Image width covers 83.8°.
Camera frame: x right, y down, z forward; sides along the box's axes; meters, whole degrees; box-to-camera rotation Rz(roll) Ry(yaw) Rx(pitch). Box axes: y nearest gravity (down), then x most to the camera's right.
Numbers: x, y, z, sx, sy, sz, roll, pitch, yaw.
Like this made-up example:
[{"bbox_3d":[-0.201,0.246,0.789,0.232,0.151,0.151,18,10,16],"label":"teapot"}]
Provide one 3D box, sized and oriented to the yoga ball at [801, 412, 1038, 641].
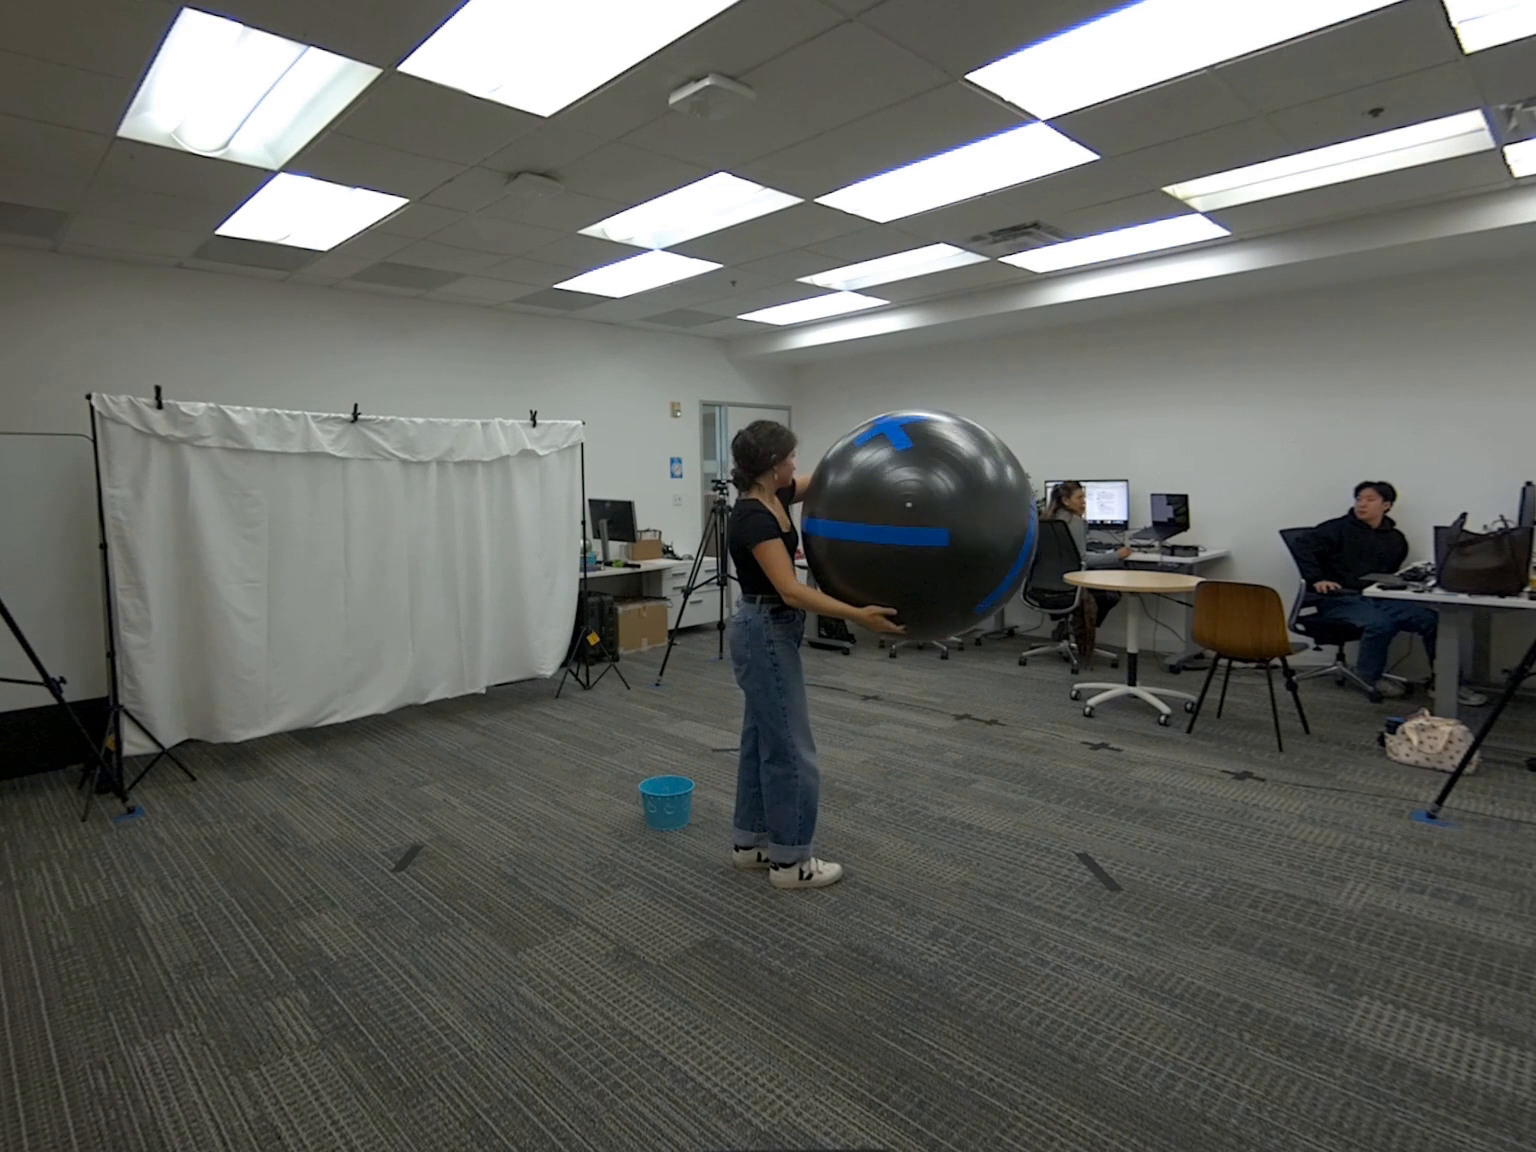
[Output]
[{"bbox_3d":[0.501,-0.167,2.807,0.757,0.755,0.762,-1,5,-2],"label":"yoga ball"}]
